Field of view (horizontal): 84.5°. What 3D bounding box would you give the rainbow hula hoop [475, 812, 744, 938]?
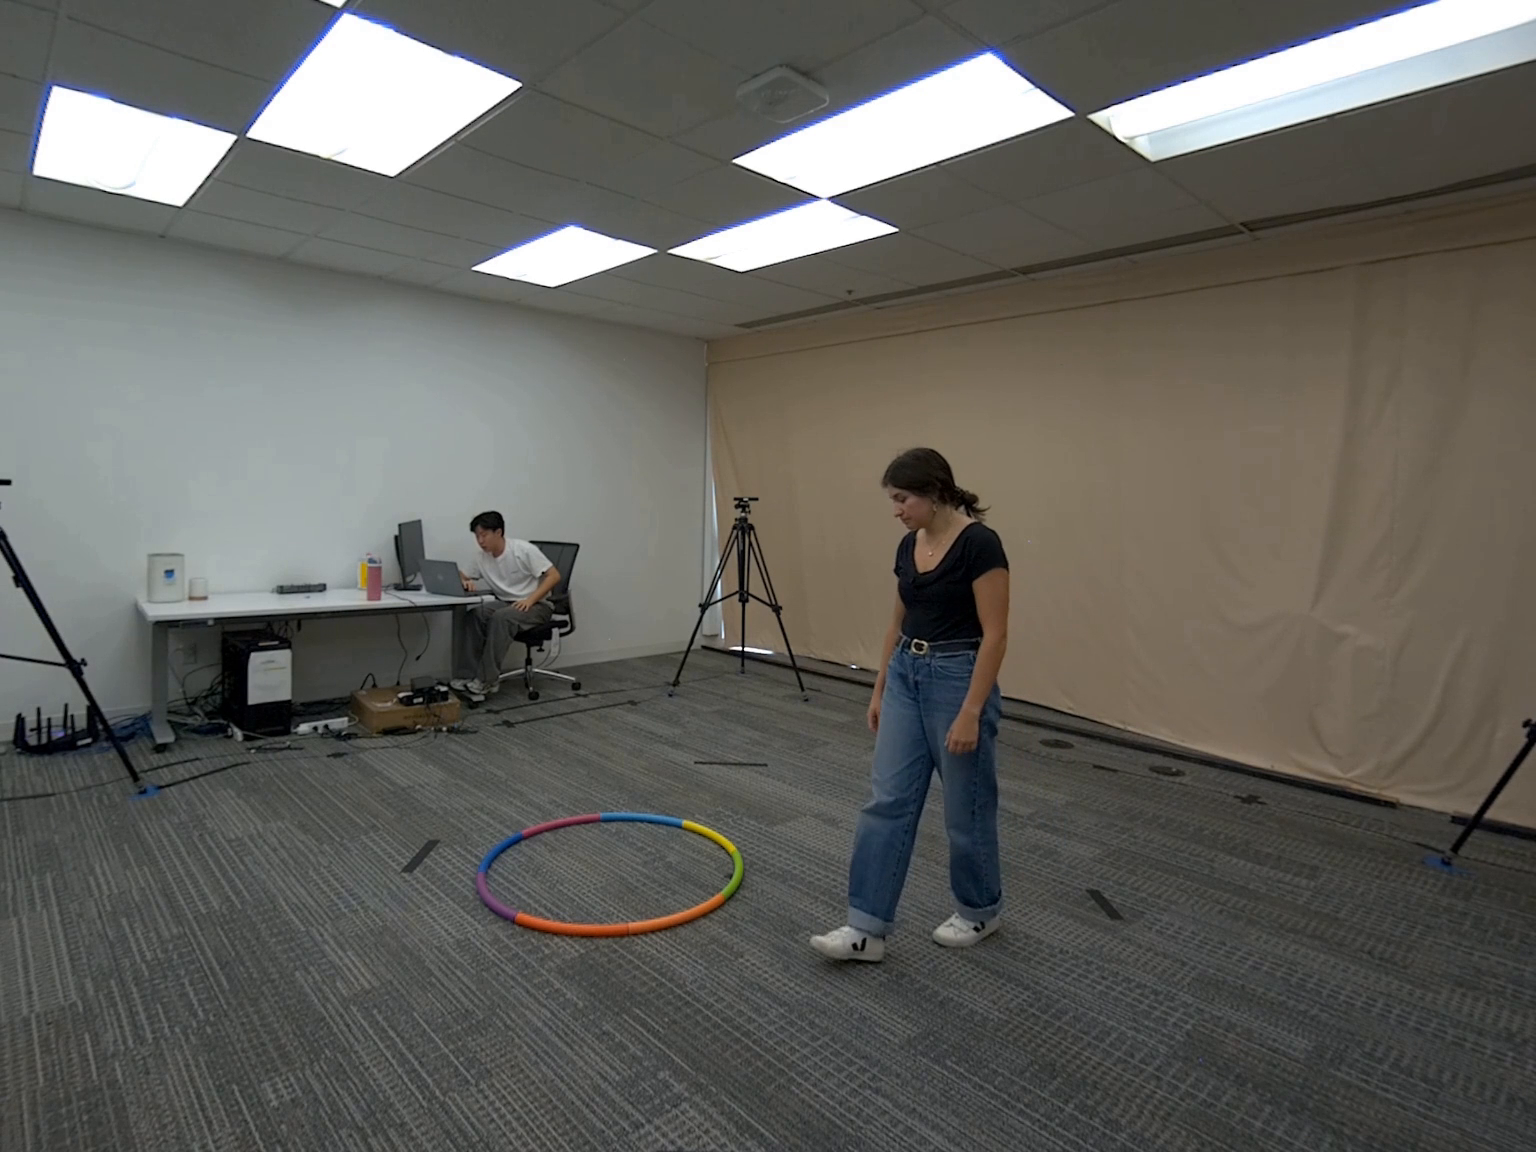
[{"bbox_3d":[-0.580,1.068,3.133,0.978,0.035,0.982,1,5,-1],"label":"rainbow hula hoop"}]
